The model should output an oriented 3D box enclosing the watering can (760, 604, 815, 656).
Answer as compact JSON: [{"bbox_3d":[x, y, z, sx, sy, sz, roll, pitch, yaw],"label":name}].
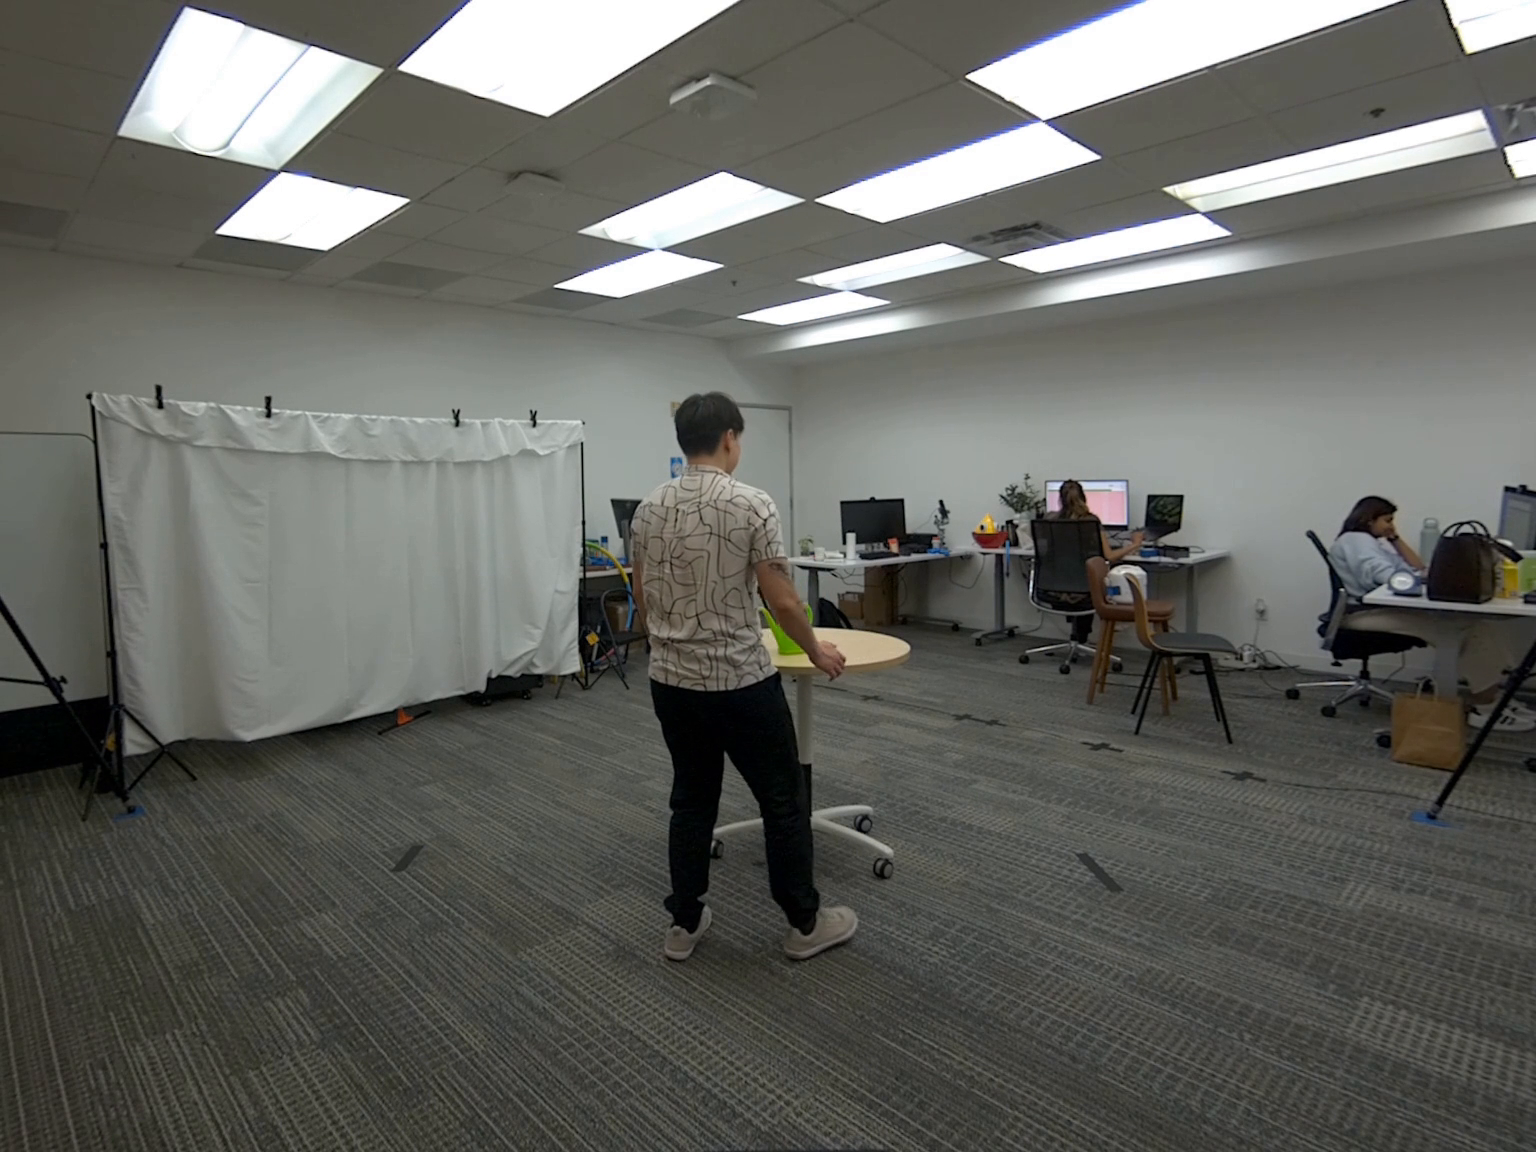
[{"bbox_3d":[0.067,0.183,3.001,0.271,0.176,0.101,-2,3,-32],"label":"watering can"}]
